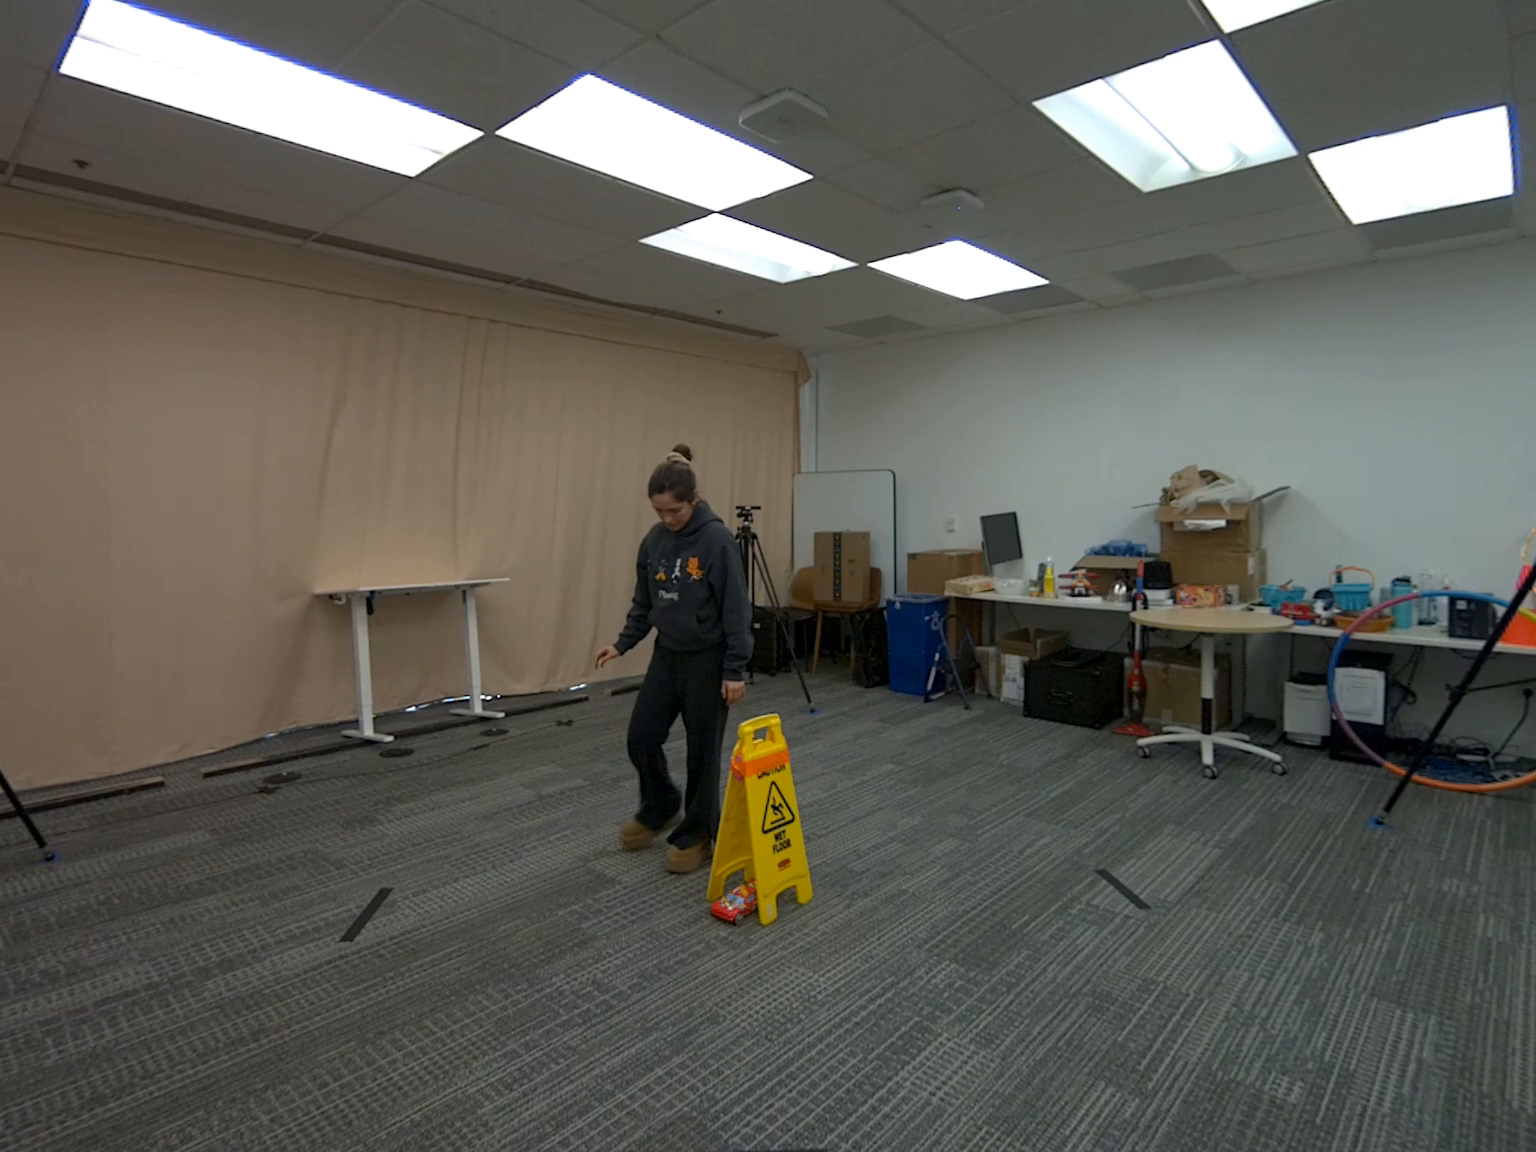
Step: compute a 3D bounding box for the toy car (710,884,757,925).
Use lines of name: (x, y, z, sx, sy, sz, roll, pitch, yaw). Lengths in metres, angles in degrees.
toy car: (-0.071, 1.120, 2.909, 0.134, 0.082, 0.248, 2, 15, 40)
